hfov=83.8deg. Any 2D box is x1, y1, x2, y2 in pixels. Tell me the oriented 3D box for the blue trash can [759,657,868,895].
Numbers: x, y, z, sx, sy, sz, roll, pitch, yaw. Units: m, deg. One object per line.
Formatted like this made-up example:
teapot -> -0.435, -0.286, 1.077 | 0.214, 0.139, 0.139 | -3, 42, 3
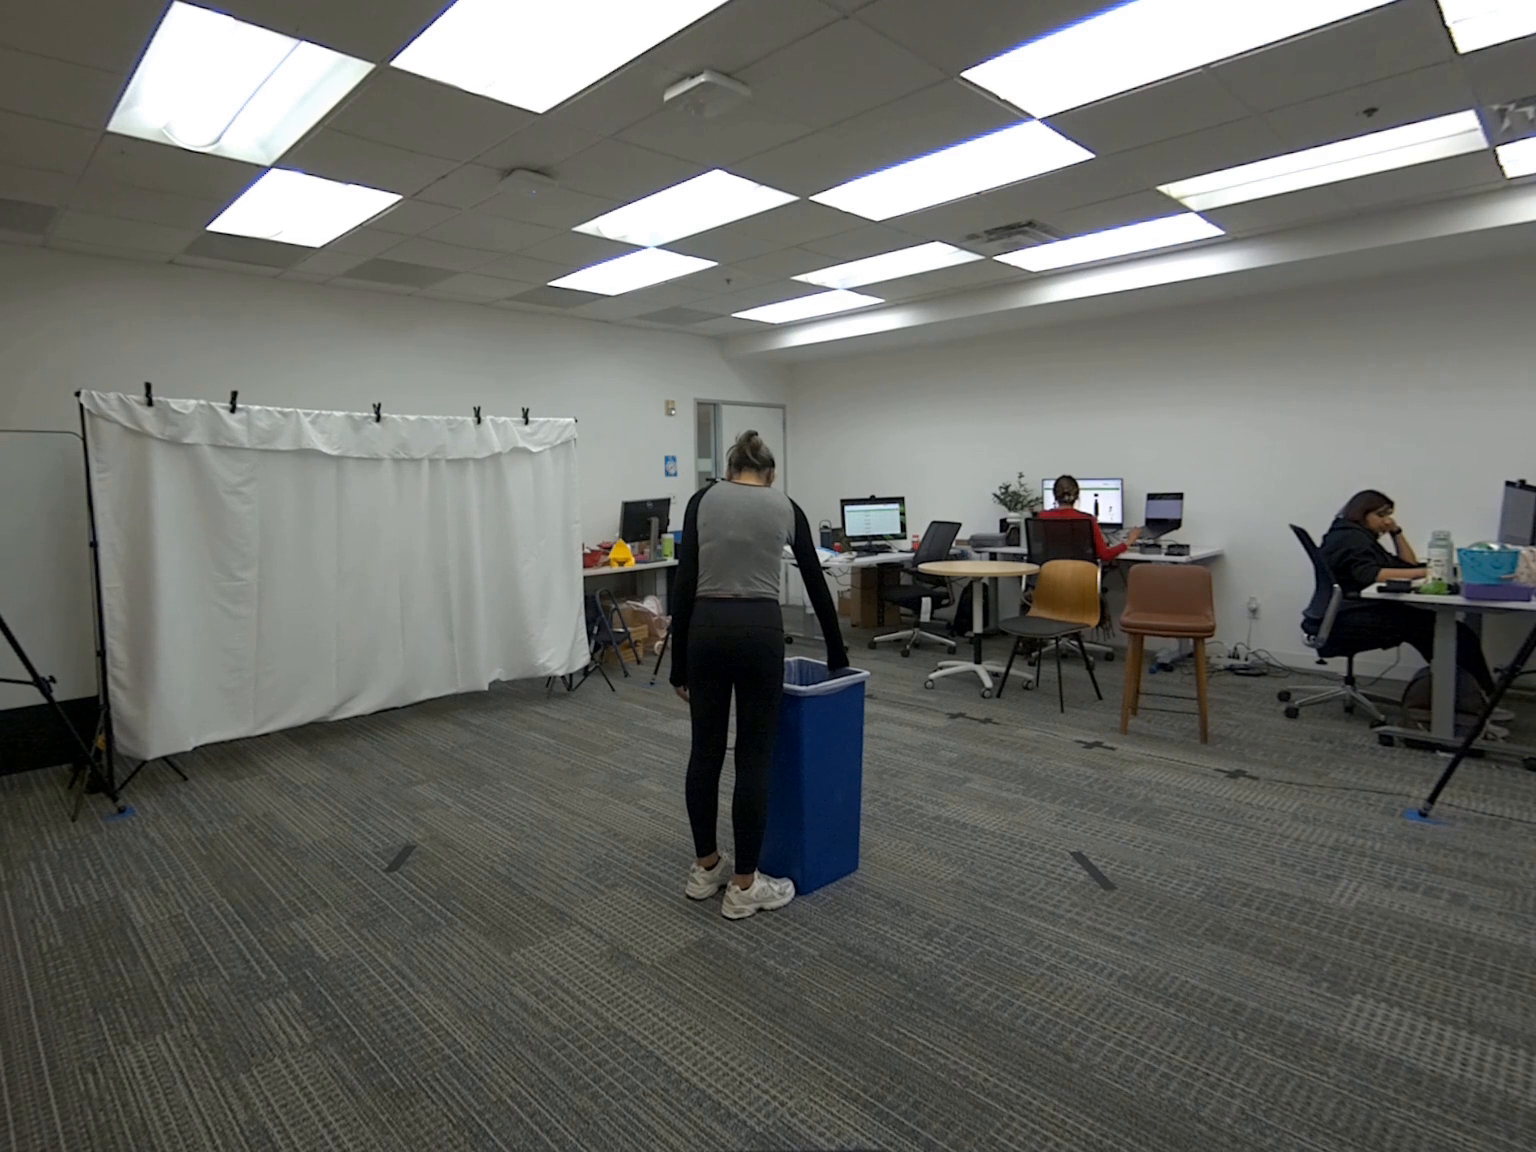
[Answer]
blue trash can -> 0.125, 0.691, 3.032 | 0.368, 0.711, 0.385 | -5, 5, -44
